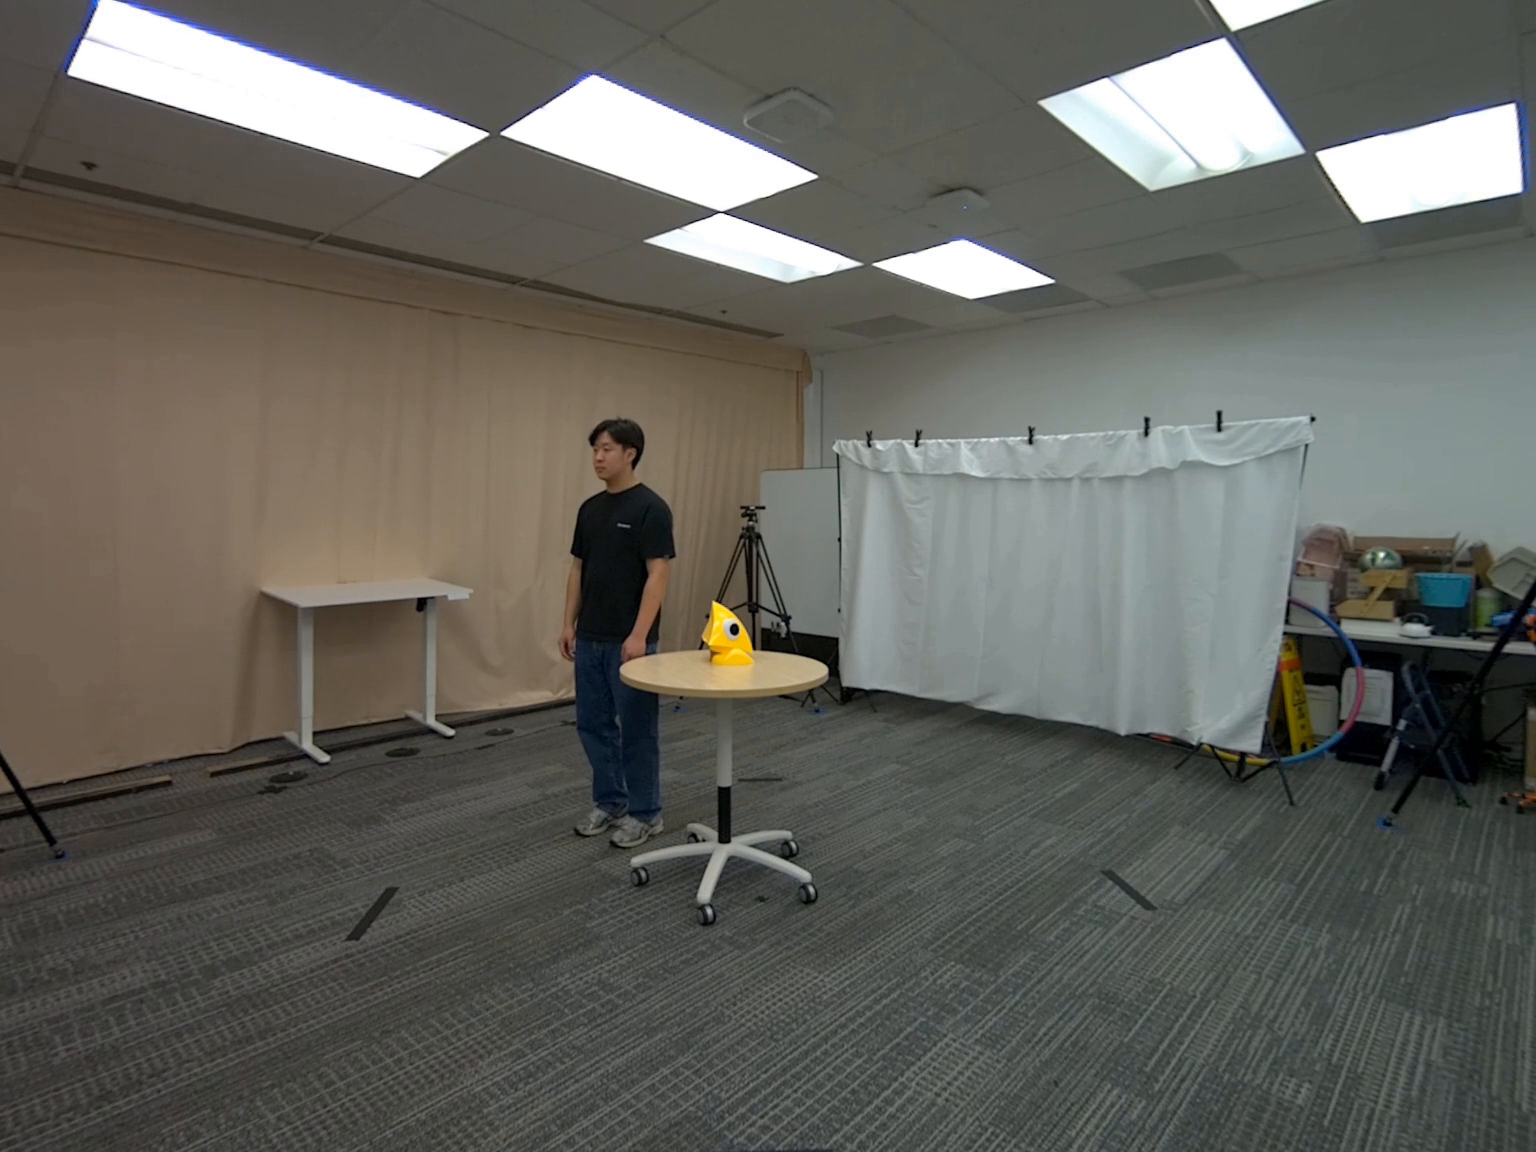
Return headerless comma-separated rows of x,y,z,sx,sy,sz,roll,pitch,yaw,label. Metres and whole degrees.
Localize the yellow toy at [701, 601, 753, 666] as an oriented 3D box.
-0.151,0.211,3.245,0.191,0.230,0.207,-2,4,-10,yellow toy
